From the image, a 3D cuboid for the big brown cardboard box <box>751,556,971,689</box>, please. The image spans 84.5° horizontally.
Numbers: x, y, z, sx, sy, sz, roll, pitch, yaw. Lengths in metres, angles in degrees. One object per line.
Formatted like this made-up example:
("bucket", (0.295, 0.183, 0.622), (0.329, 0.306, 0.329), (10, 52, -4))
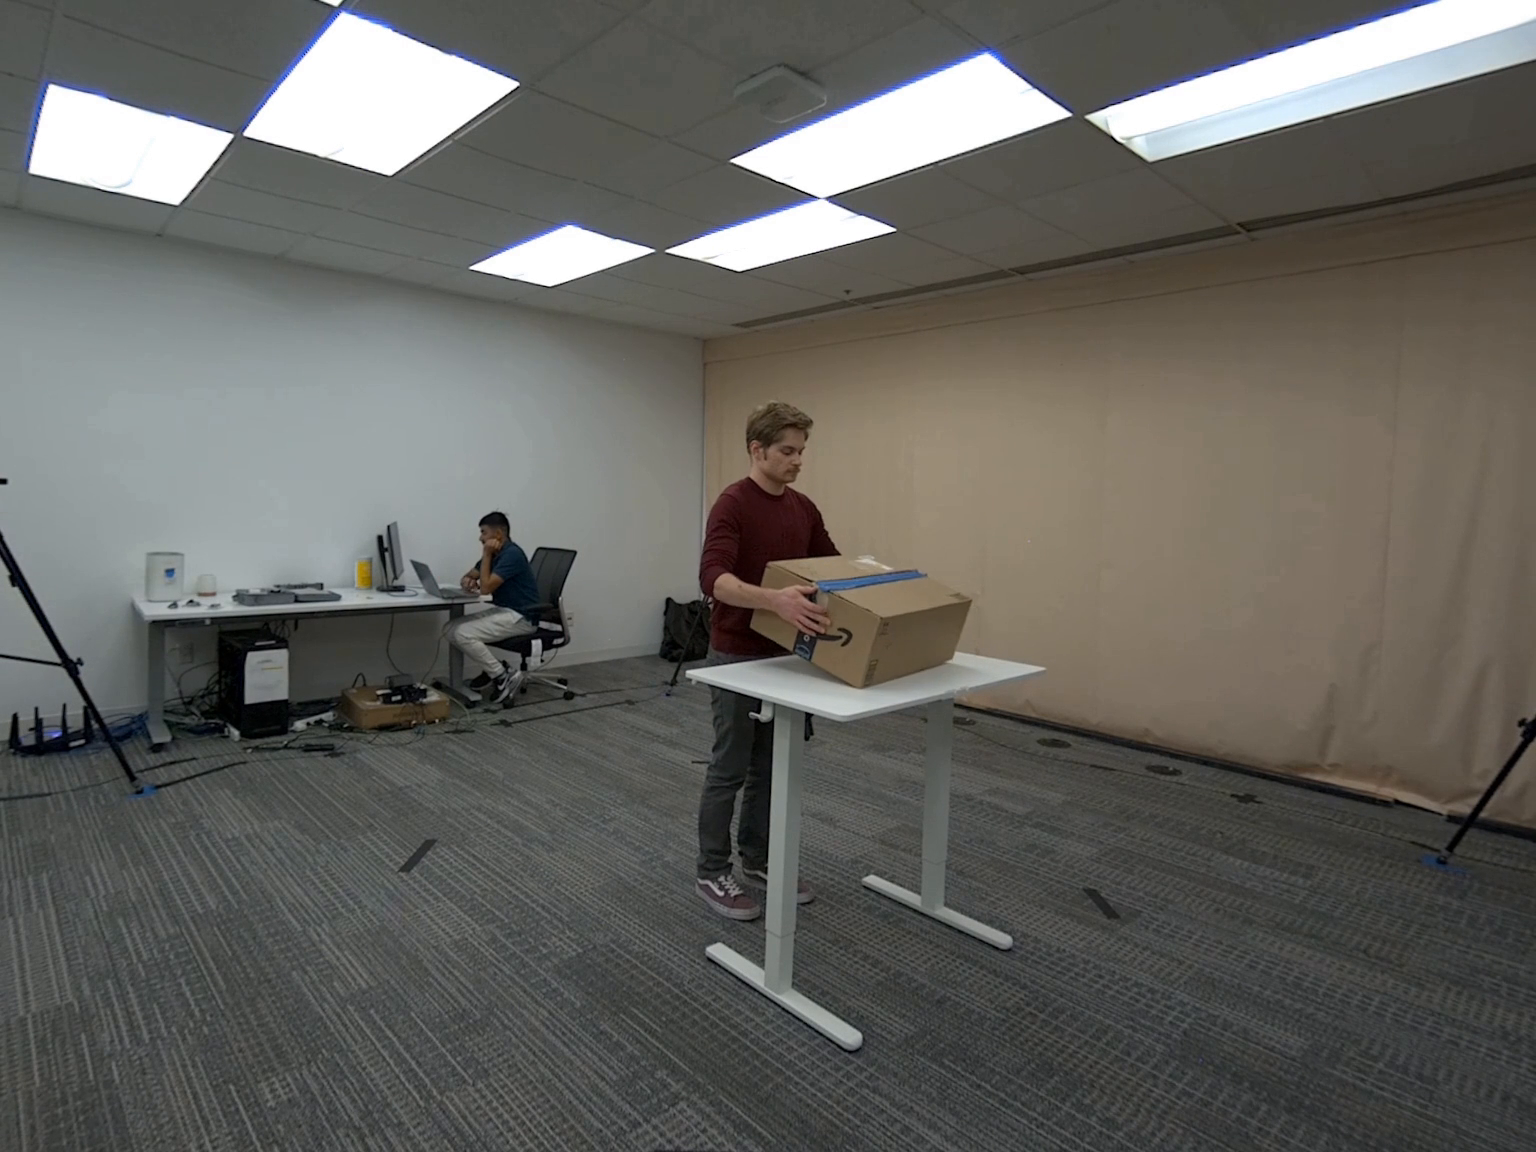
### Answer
("big brown cardboard box", (0.295, 0.114, 2.597), (0.430, 0.231, 0.576), (26, 19, 35))
